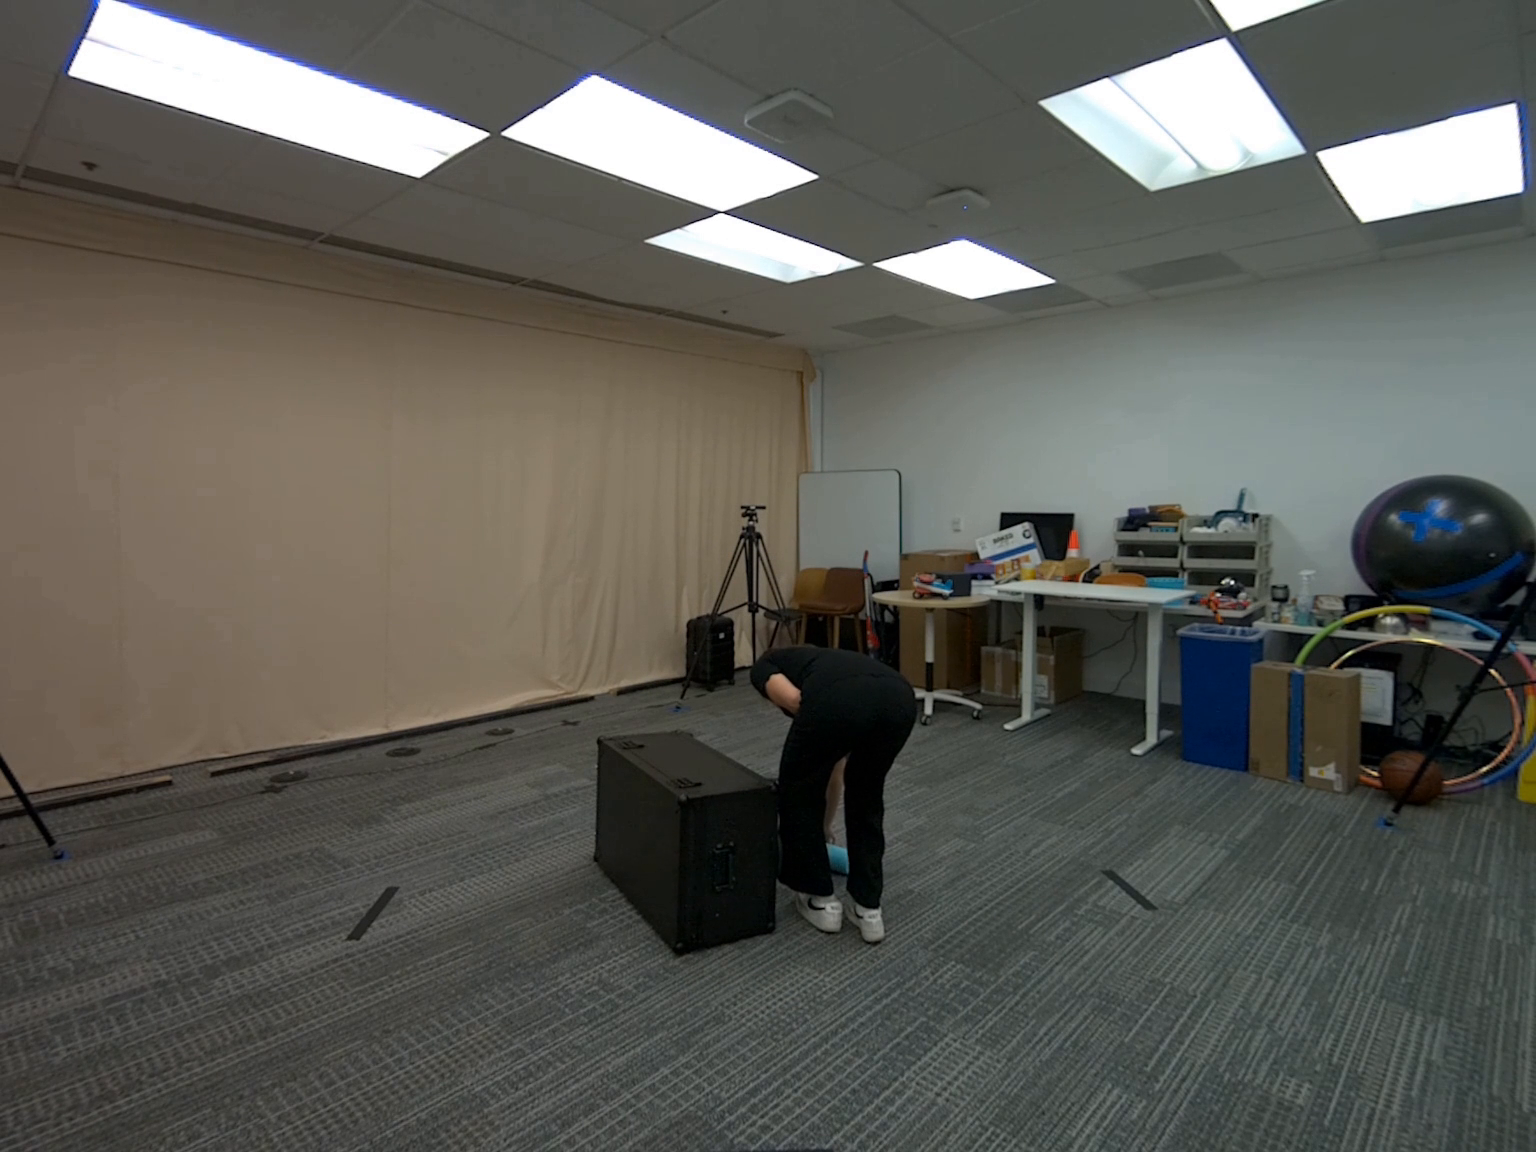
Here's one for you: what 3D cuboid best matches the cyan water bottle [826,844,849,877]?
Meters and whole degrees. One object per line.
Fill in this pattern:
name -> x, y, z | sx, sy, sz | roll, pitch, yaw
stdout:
cyan water bottle -> 0.194, 1.072, 3.232 | 0.292, 0.092, 0.090 | 4, 5, 30
